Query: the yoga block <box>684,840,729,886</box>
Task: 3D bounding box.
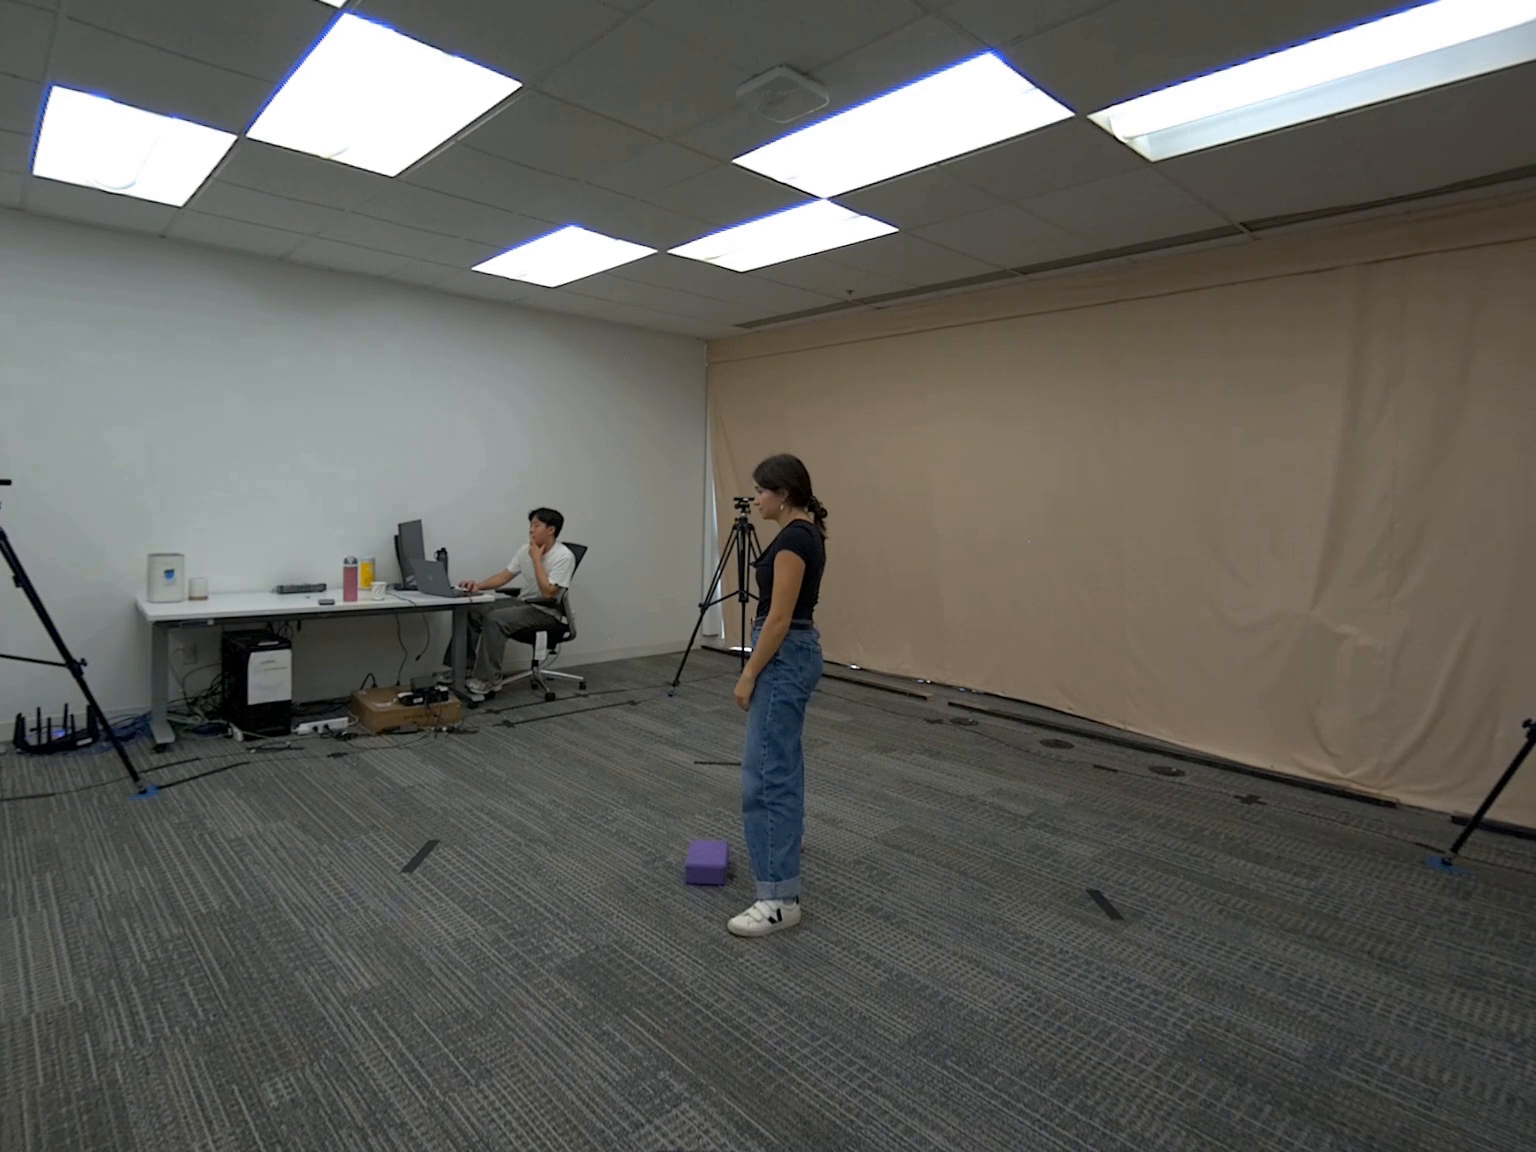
[{"bbox_3d":[-0.231,1.065,3.126,0.149,0.076,0.229,1,4,2],"label":"yoga block"}]
